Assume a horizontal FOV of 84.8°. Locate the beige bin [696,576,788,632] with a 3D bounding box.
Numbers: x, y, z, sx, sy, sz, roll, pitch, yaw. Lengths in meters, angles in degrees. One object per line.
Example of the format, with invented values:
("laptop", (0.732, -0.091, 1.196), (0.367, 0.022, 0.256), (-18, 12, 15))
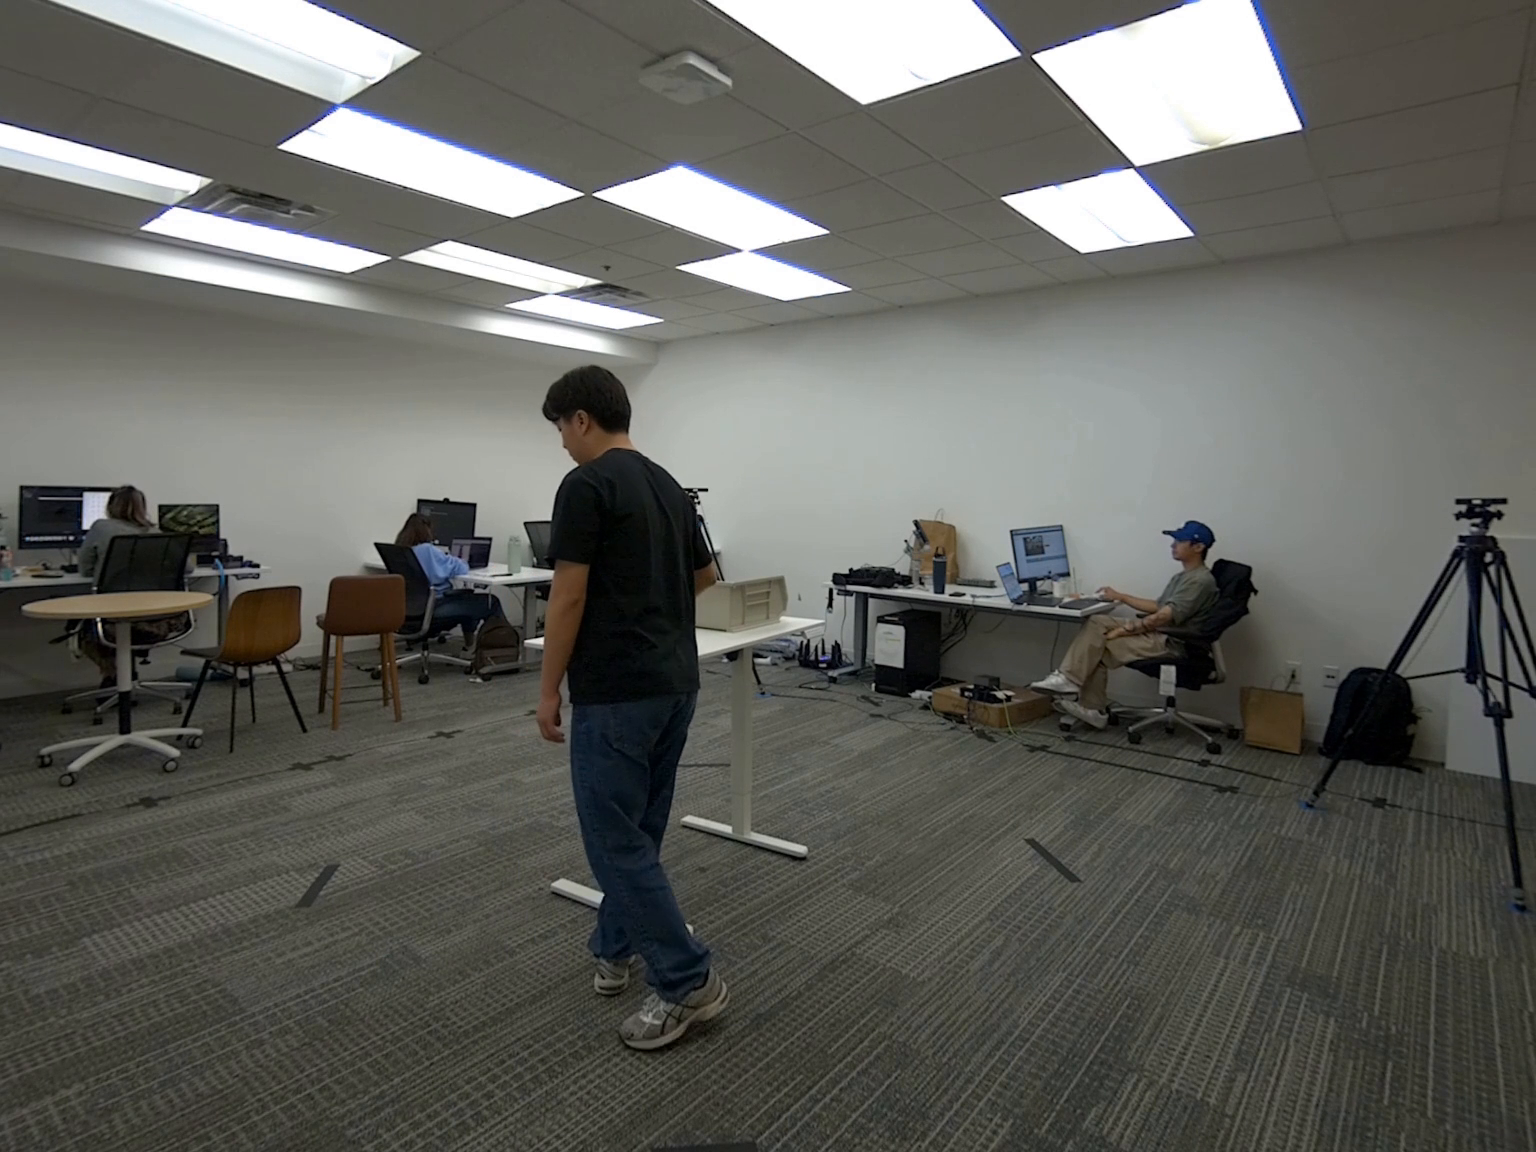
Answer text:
("beige bin", (-0.206, 0.084, 3.249), (0.436, 0.188, 0.367), (4, 8, 35))
